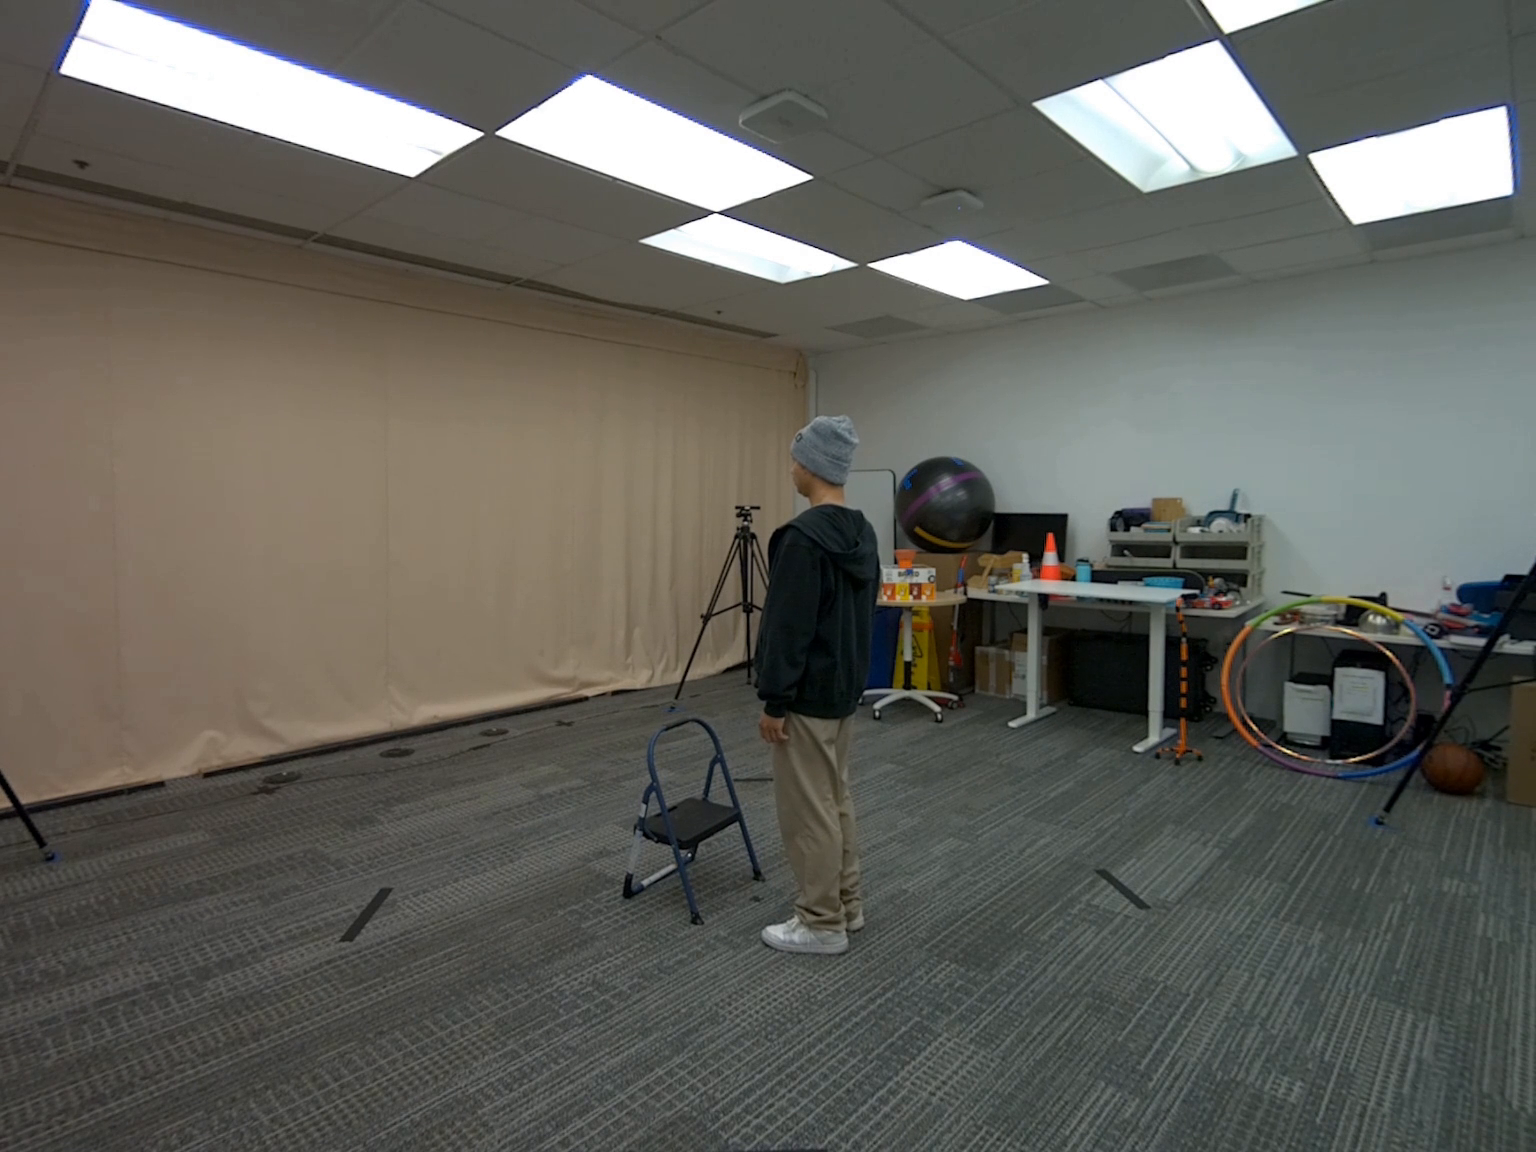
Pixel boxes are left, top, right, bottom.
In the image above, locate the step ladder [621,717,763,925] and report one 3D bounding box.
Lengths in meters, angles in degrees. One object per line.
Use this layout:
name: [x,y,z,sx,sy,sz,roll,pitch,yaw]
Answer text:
step ladder: [-0.268,0.837,3.055,0.360,0.605,0.418,2,4,32]
